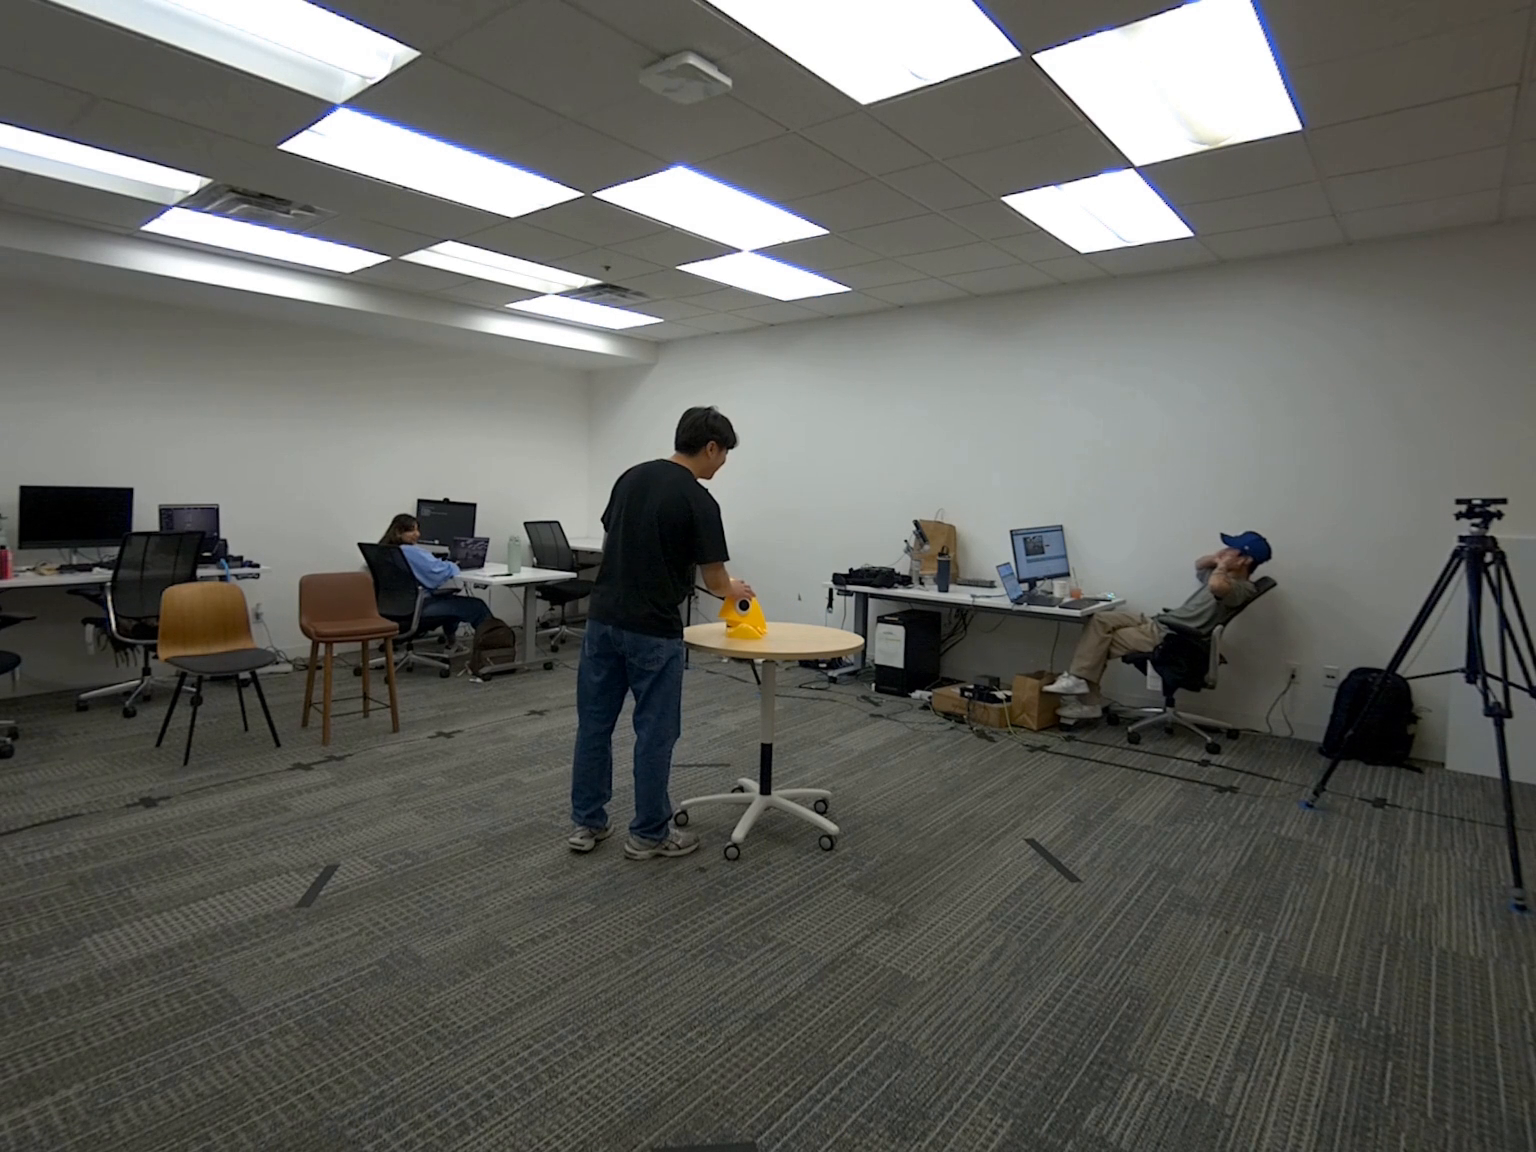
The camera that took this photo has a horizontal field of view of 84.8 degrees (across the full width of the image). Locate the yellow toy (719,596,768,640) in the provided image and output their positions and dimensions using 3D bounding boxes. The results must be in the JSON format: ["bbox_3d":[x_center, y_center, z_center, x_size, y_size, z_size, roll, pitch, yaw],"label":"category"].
[{"bbox_3d":[-0.107,0.125,3.495,0.195,0.230,0.203,2,3,10],"label":"yellow toy"}]
